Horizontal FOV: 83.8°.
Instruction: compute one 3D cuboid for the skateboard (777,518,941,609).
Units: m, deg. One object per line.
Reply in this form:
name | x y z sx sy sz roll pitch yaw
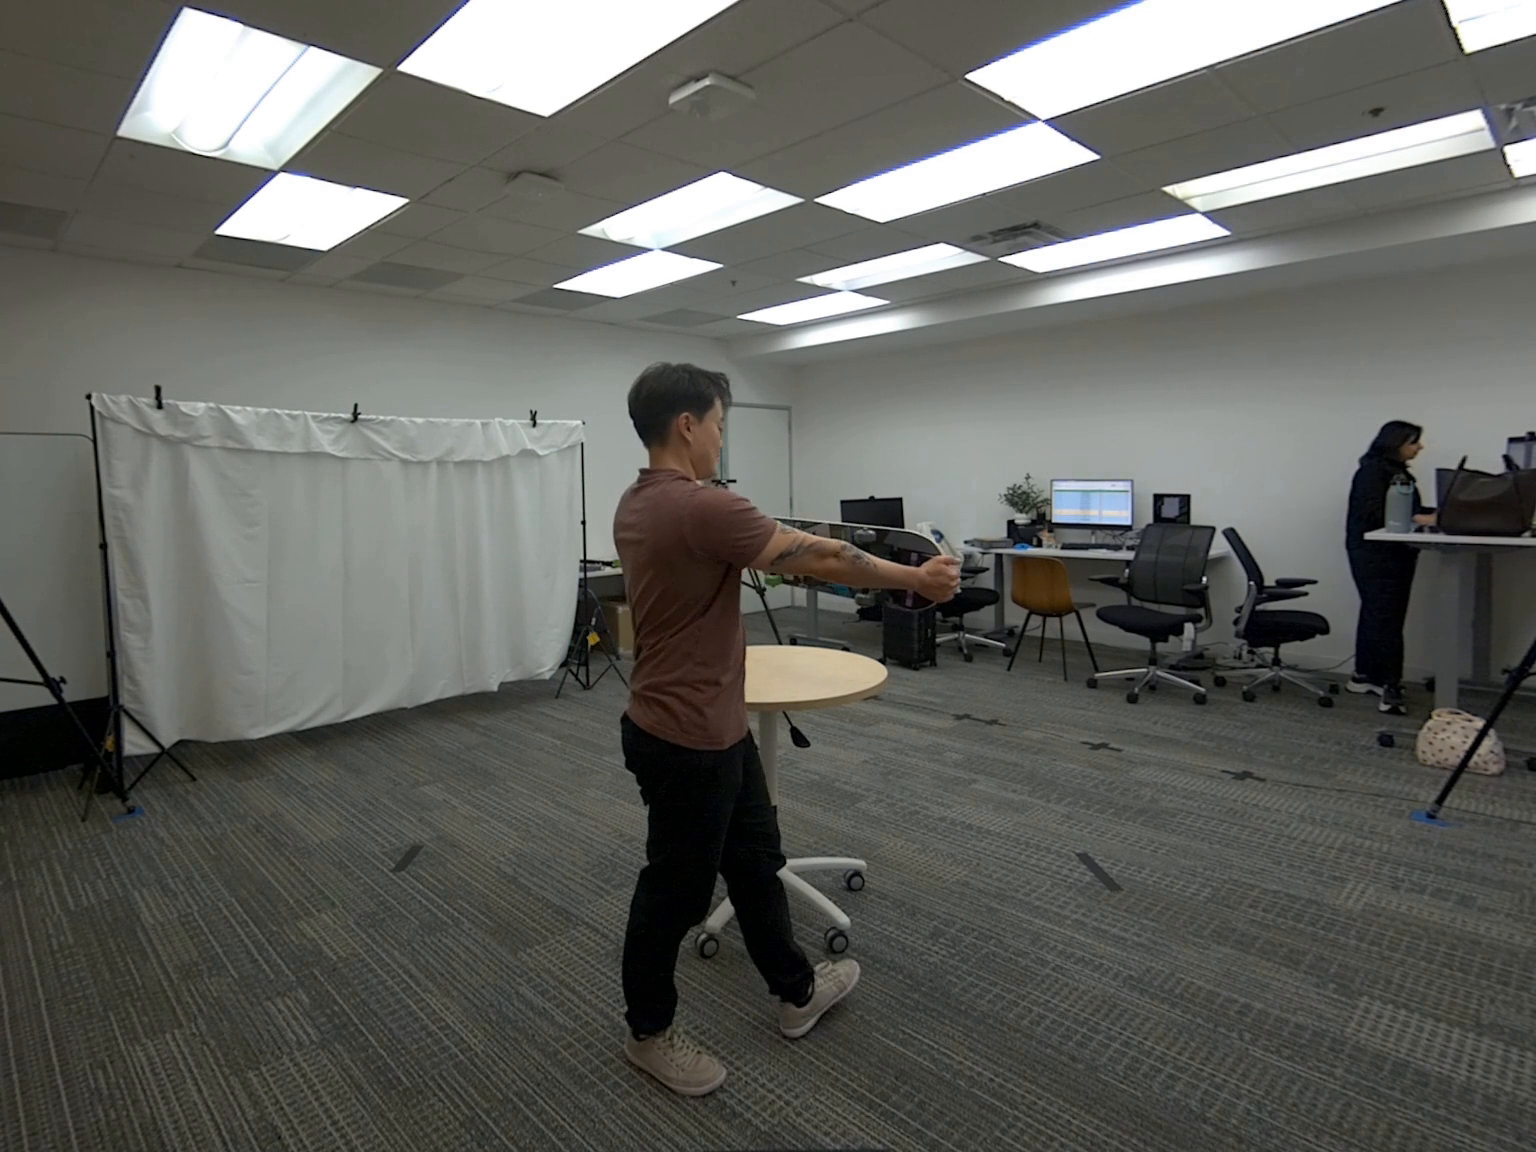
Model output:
skateboard | 0.167 -0.044 2.273 0.108 0.192 0.809 -10 11 -31
